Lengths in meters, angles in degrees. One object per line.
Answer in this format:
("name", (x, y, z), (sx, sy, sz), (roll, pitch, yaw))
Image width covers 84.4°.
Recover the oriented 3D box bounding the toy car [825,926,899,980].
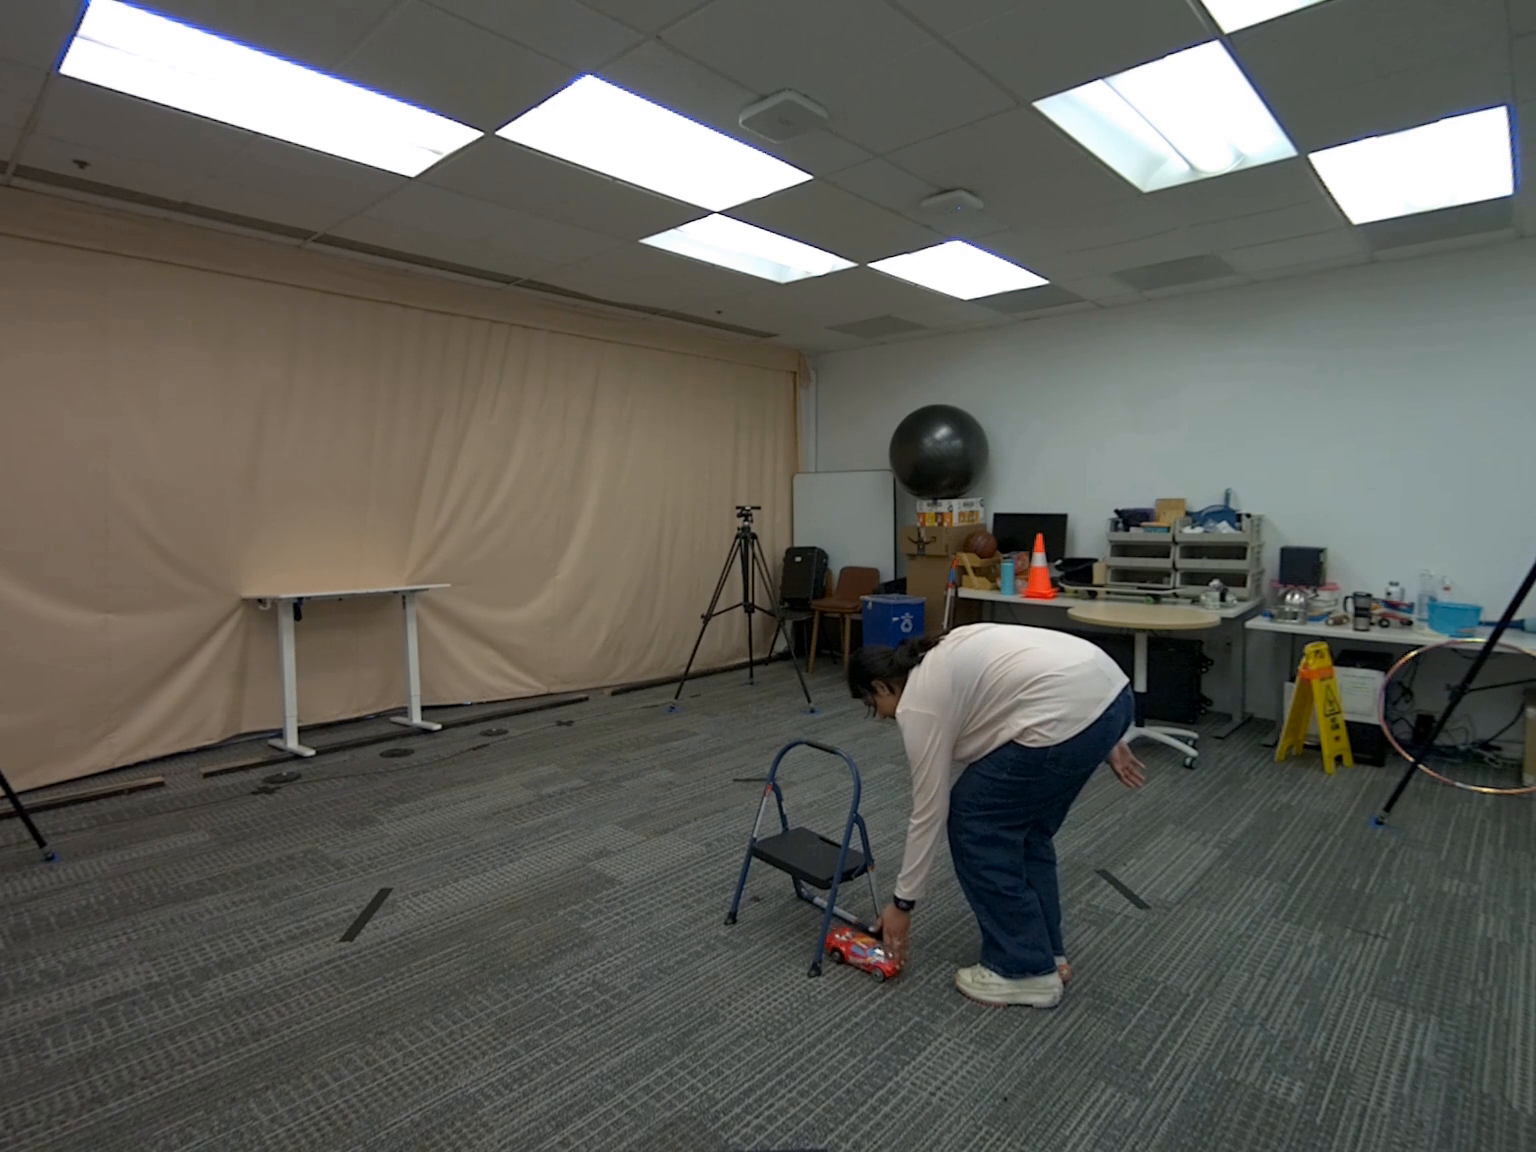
("toy car", (0.282, 1.150, 2.571), (0.264, 0.083, 0.126), (18, 14, 40))
